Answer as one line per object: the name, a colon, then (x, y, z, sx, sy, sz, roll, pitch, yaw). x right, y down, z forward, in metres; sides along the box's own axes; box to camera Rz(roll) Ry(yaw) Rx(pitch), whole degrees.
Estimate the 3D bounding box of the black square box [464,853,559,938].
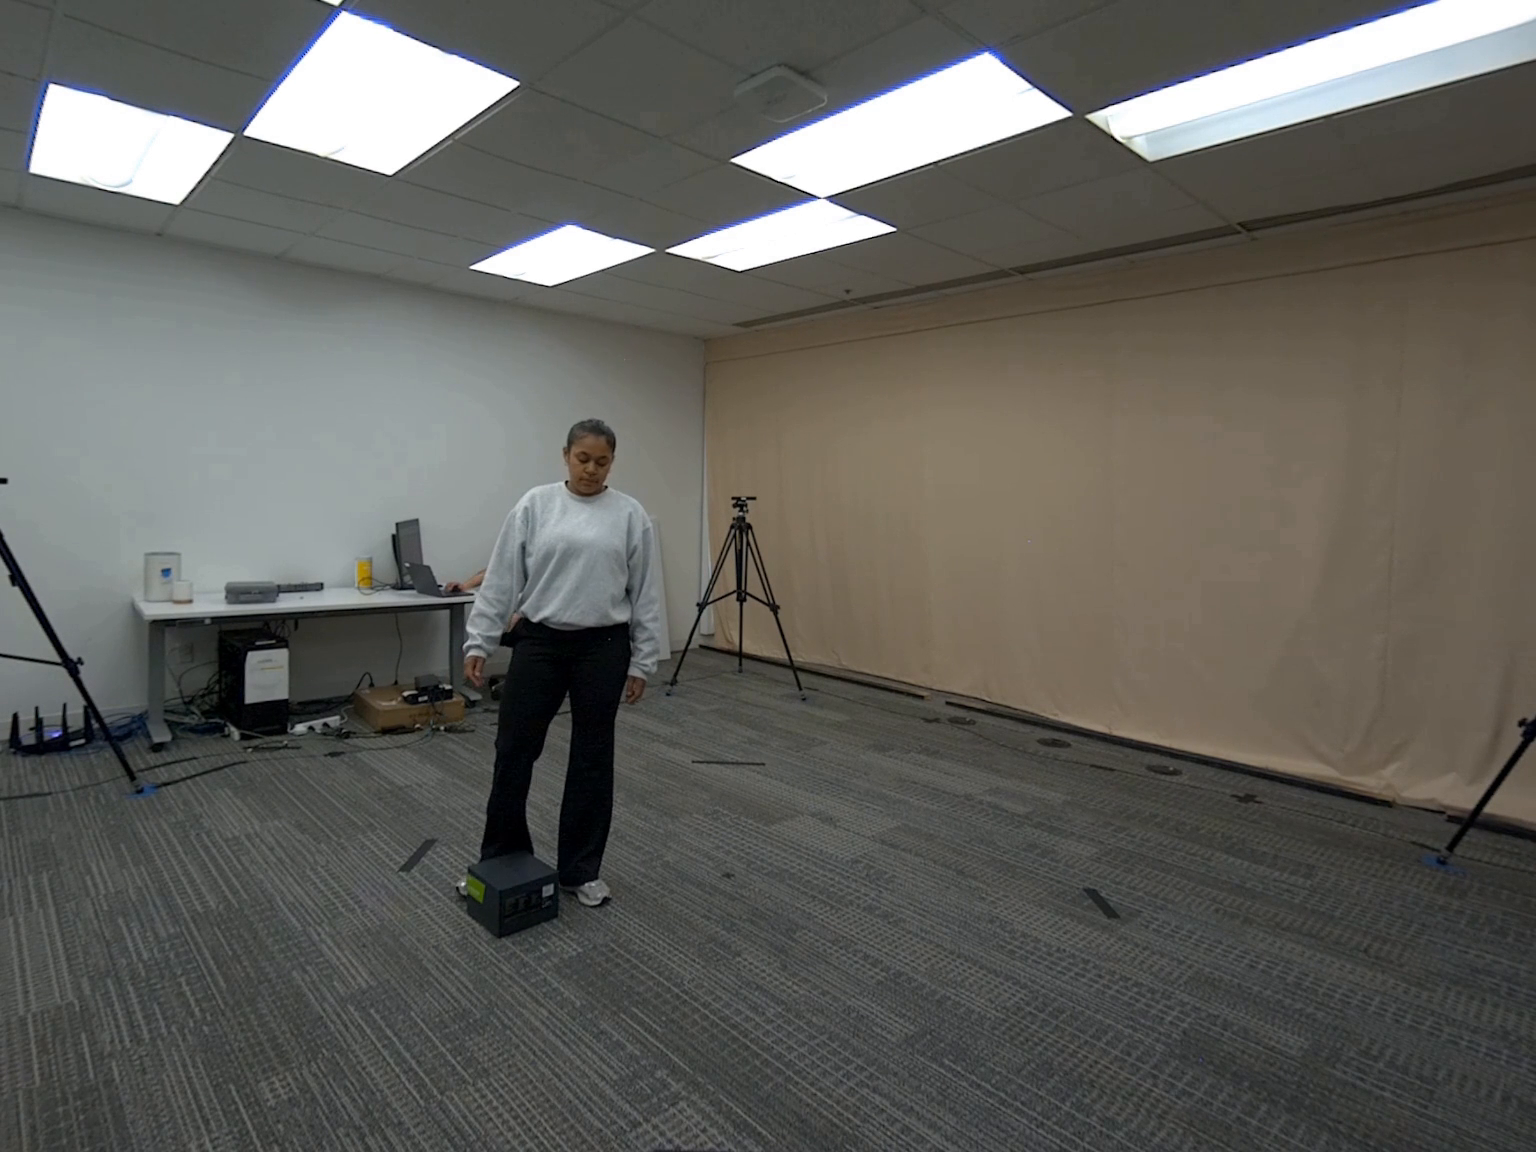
black square box: (-0.846, 1.043, 2.760, 0.234, 0.155, 0.212, 6, 6, 44)
